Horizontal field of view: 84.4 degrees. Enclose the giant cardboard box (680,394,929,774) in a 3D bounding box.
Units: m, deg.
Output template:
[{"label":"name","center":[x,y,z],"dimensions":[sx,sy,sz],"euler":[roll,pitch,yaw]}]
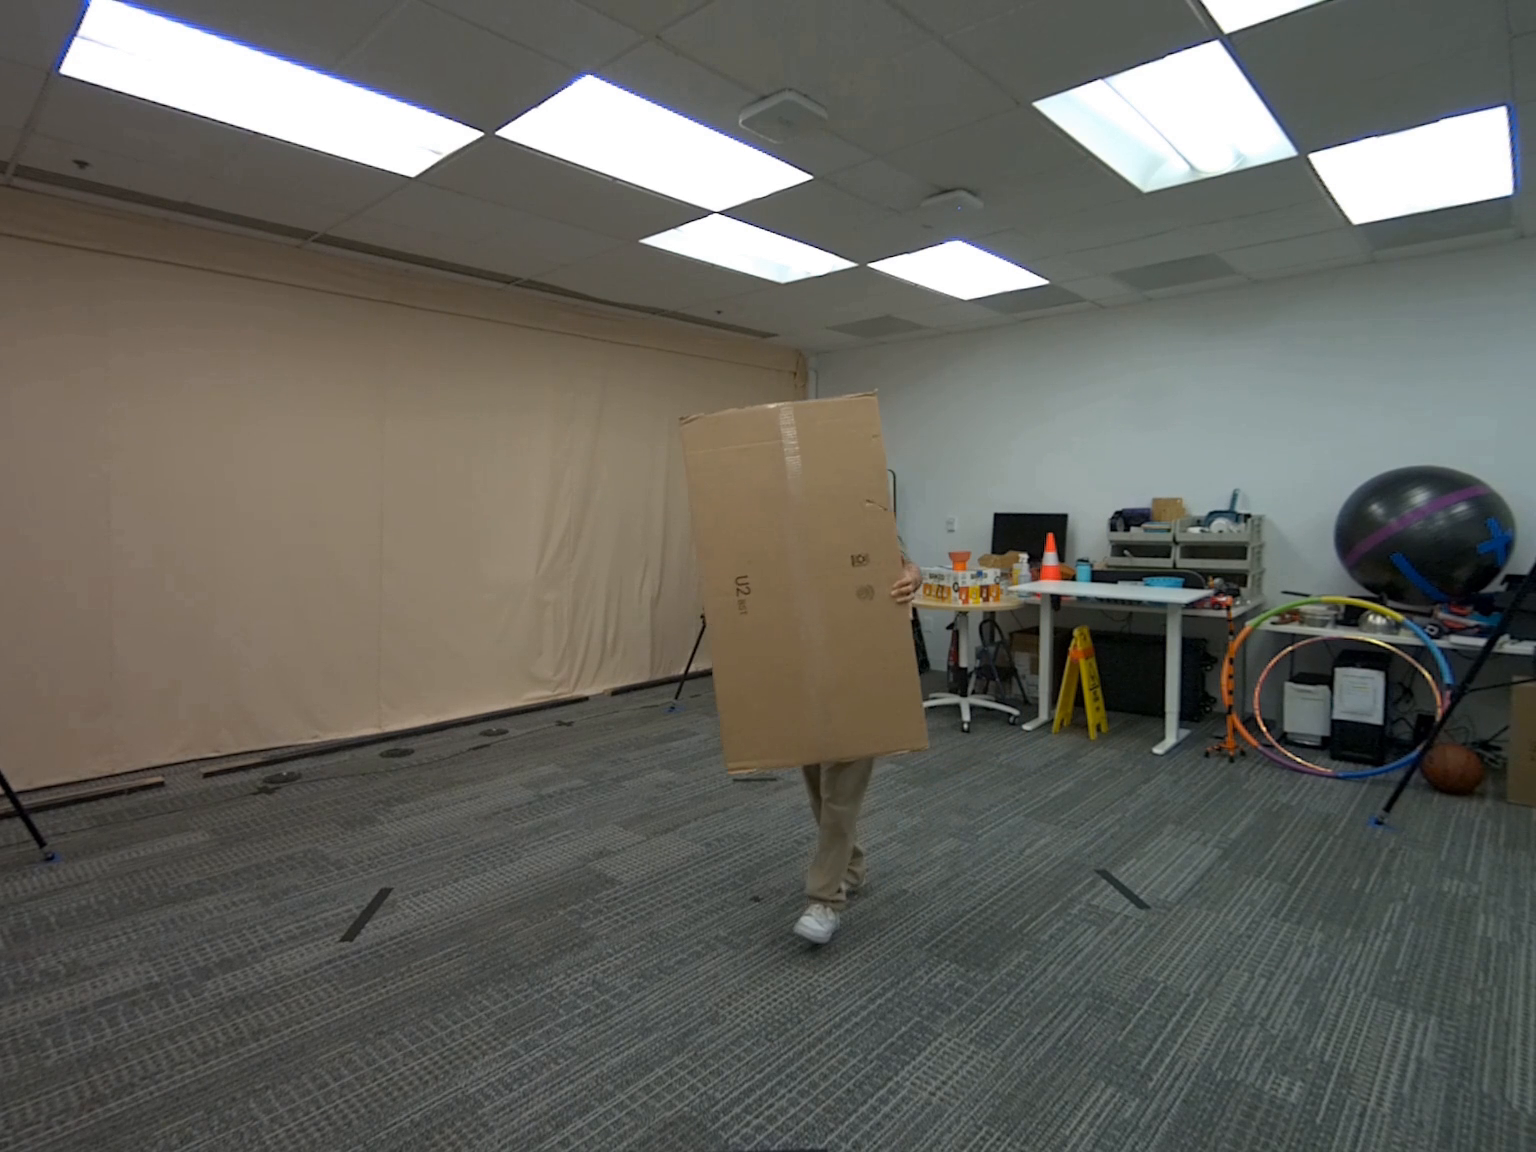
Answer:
[{"label":"giant cardboard box","center":[0.098,0.022,2.568],"dimensions":[0.577,1.029,0.425],"euler":[-8,-3,-1]}]
